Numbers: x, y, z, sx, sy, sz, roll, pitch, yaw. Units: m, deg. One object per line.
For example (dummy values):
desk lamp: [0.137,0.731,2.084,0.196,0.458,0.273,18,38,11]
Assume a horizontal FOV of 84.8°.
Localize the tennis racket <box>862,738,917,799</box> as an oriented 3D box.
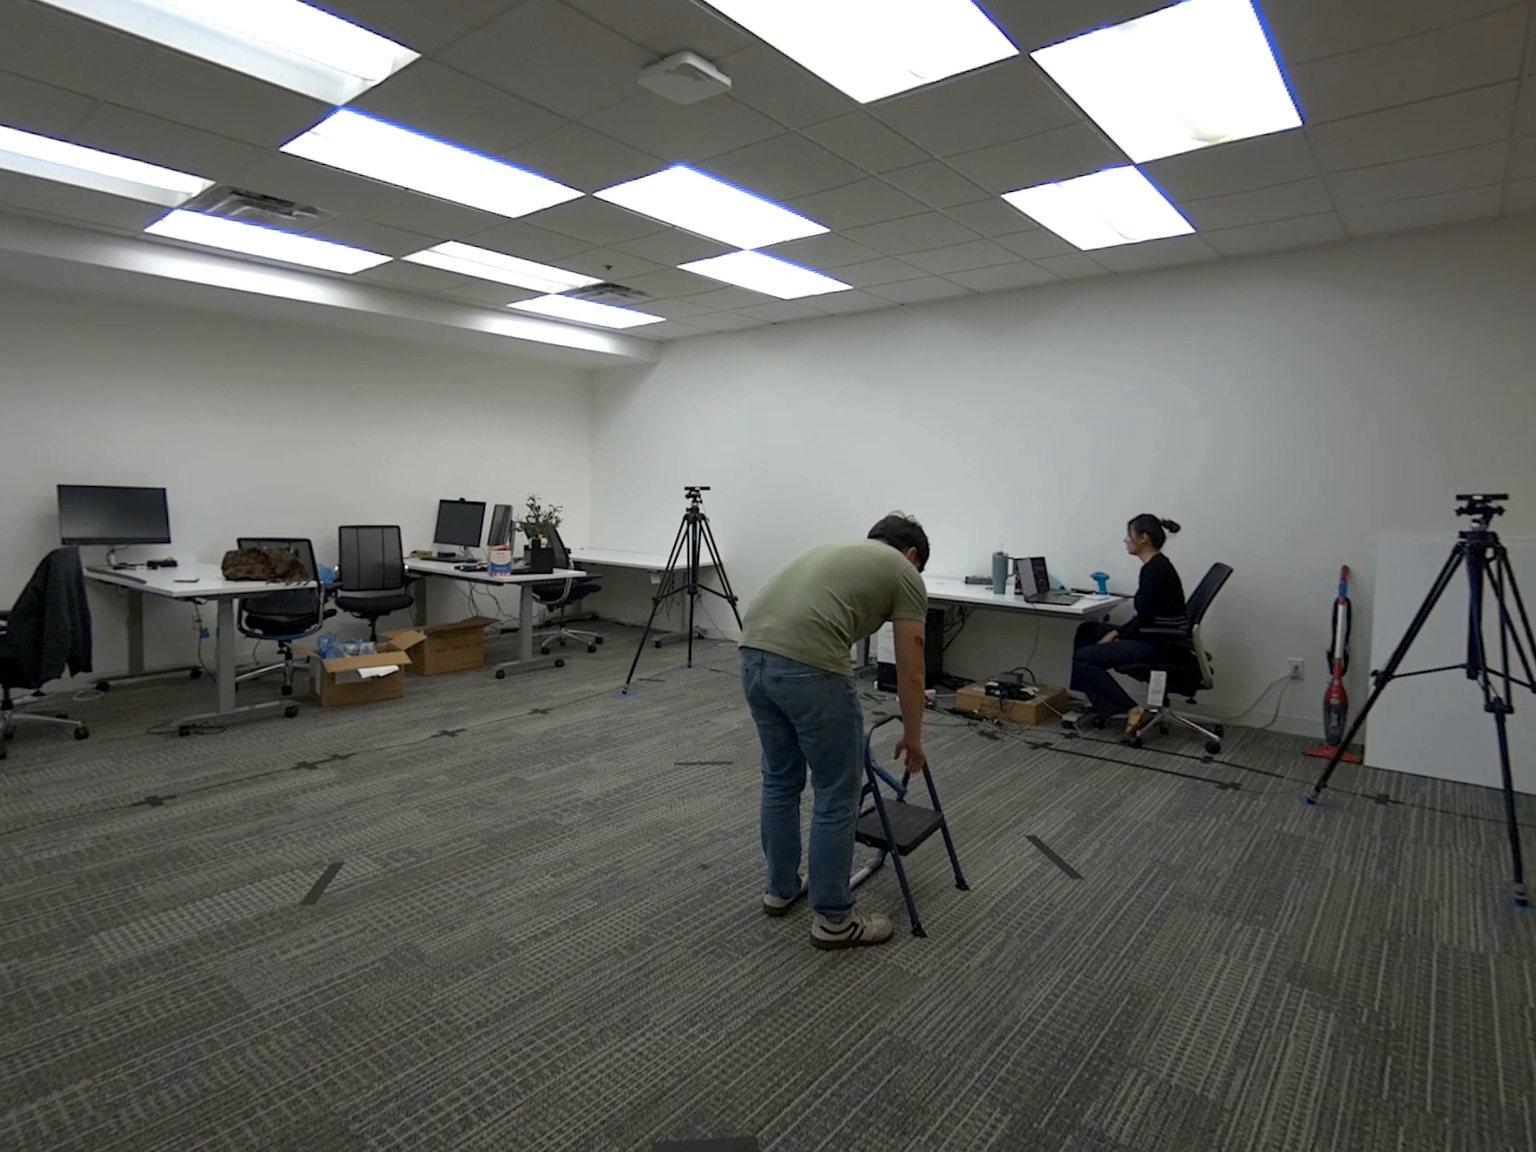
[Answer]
tennis racket: [0.304,0.621,2.992,0.206,0.031,0.452,10,22,-42]
